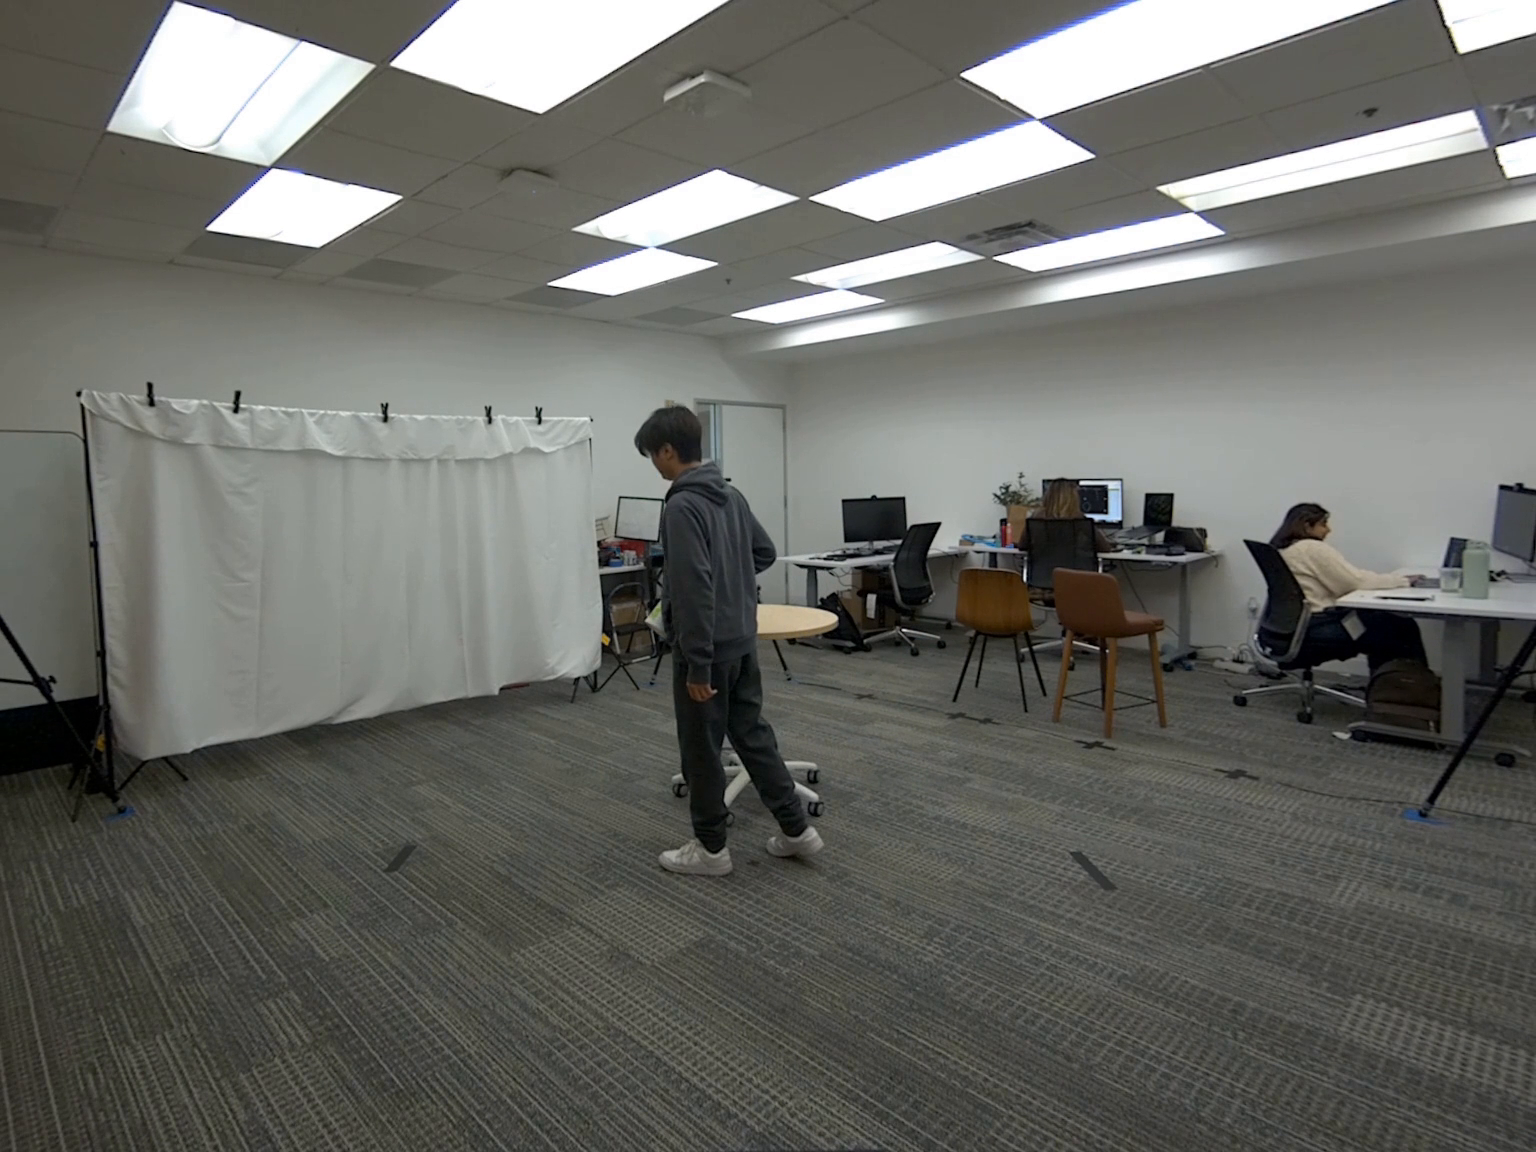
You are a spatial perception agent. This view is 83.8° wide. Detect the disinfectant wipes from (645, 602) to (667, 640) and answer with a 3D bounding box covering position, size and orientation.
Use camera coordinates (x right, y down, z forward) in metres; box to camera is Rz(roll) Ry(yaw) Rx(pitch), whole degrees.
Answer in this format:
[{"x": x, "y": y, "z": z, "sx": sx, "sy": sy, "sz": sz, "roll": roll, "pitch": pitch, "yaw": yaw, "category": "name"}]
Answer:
[{"x": -0.349, "y": 0.122, "z": 3.269, "sx": 0.119, "sy": 0.218, "sz": 0.116, "roll": 32, "pitch": -13, "yaw": 6, "category": "disinfectant wipes"}]
